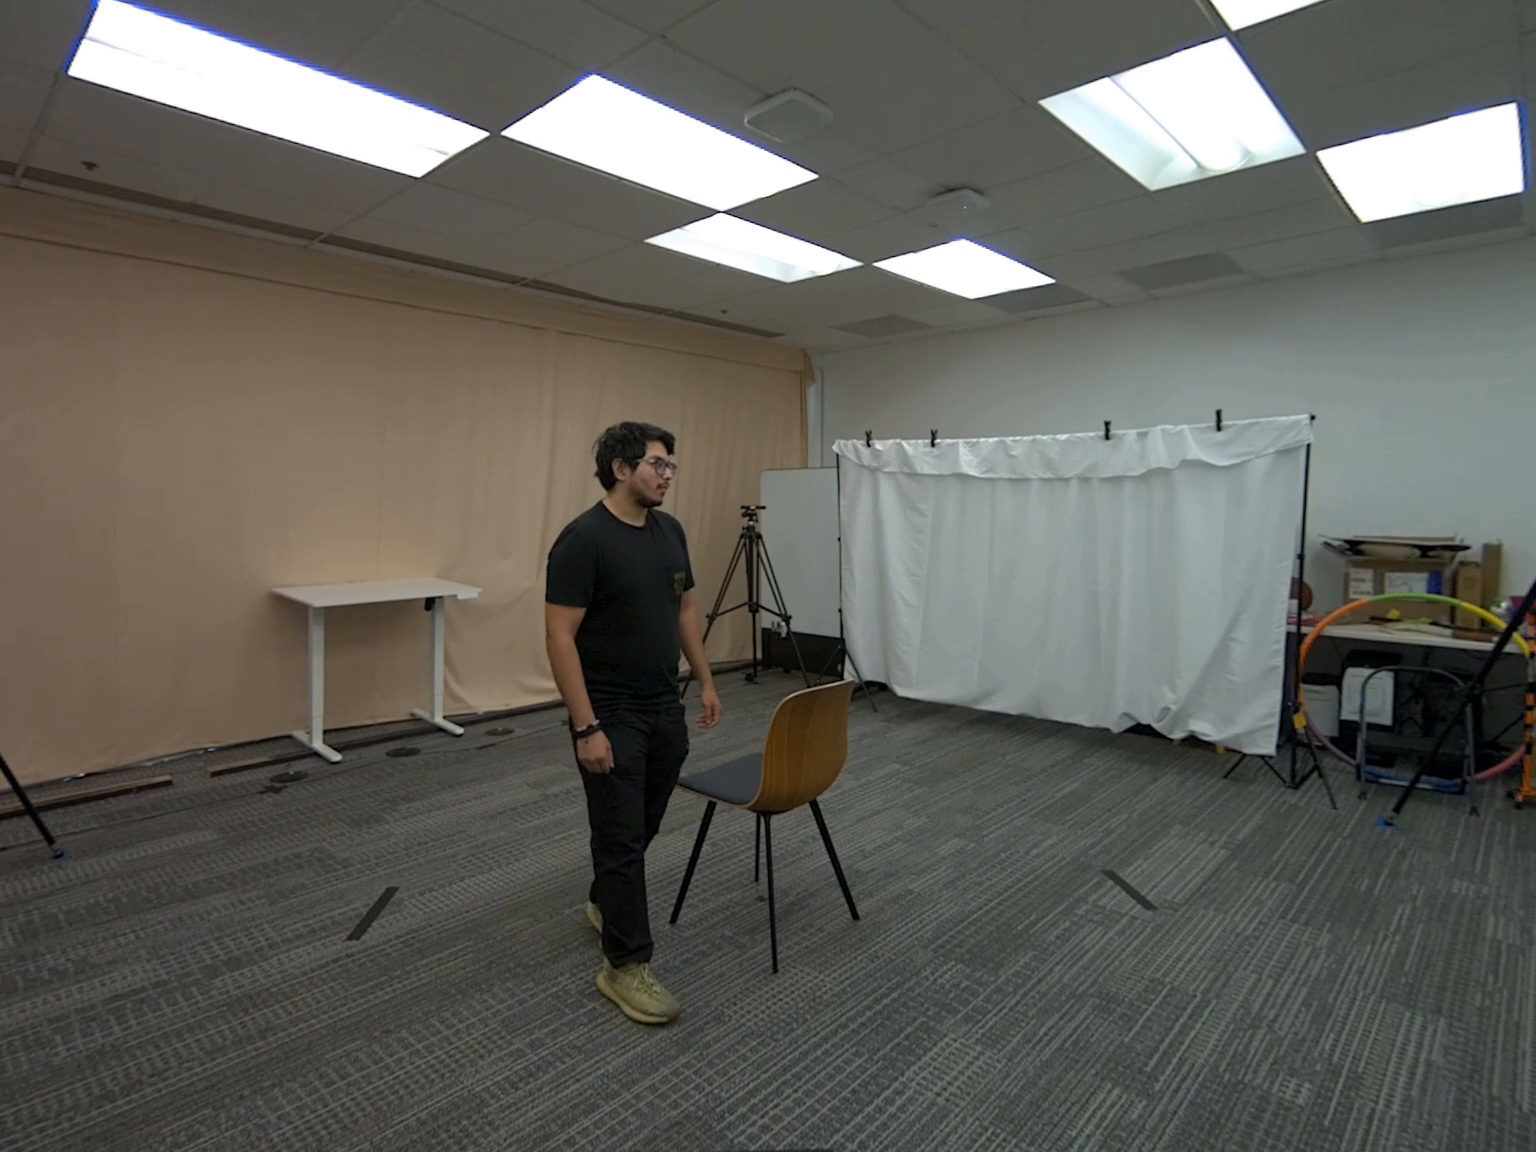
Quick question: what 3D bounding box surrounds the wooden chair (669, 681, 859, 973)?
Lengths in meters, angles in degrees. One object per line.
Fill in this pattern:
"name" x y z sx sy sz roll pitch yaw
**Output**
"wooden chair" -0.016 0.732 2.796 0.541 0.874 0.463 9 9 41
